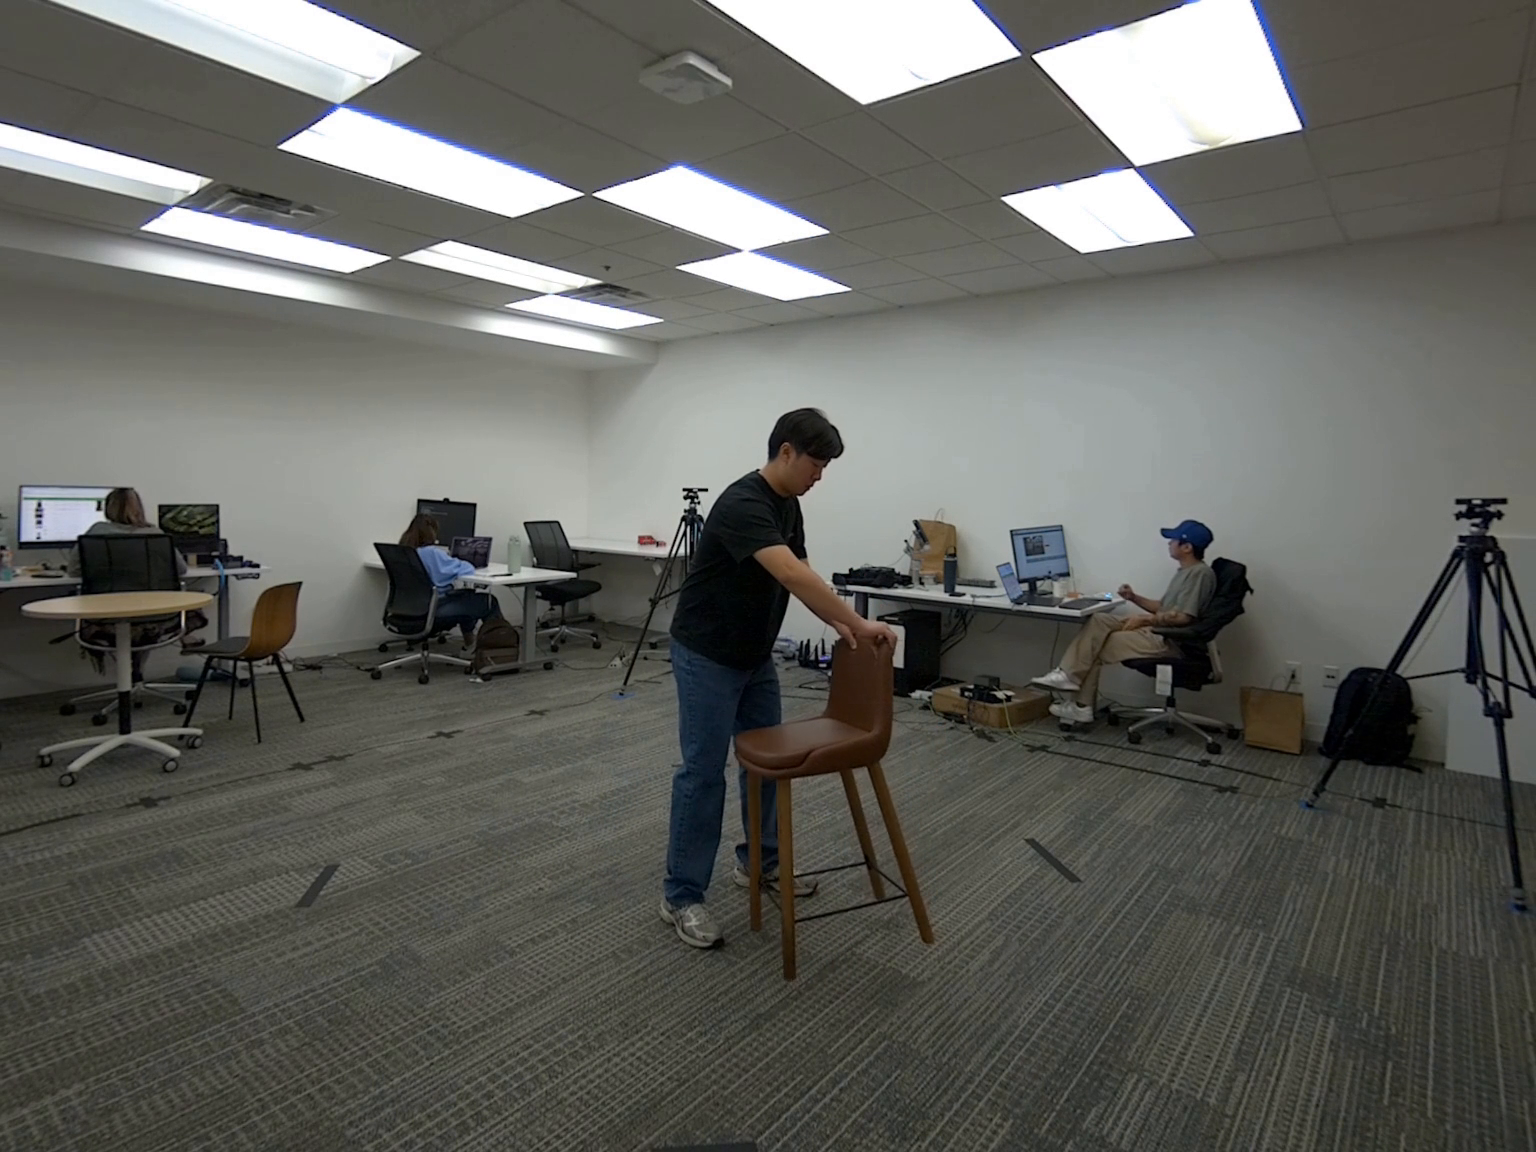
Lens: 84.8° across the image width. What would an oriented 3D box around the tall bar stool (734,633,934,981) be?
[{"bbox_3d":[0.154,0.650,2.569,0.462,0.891,0.462,-6,-1,-14],"label":"tall bar stool"}]
